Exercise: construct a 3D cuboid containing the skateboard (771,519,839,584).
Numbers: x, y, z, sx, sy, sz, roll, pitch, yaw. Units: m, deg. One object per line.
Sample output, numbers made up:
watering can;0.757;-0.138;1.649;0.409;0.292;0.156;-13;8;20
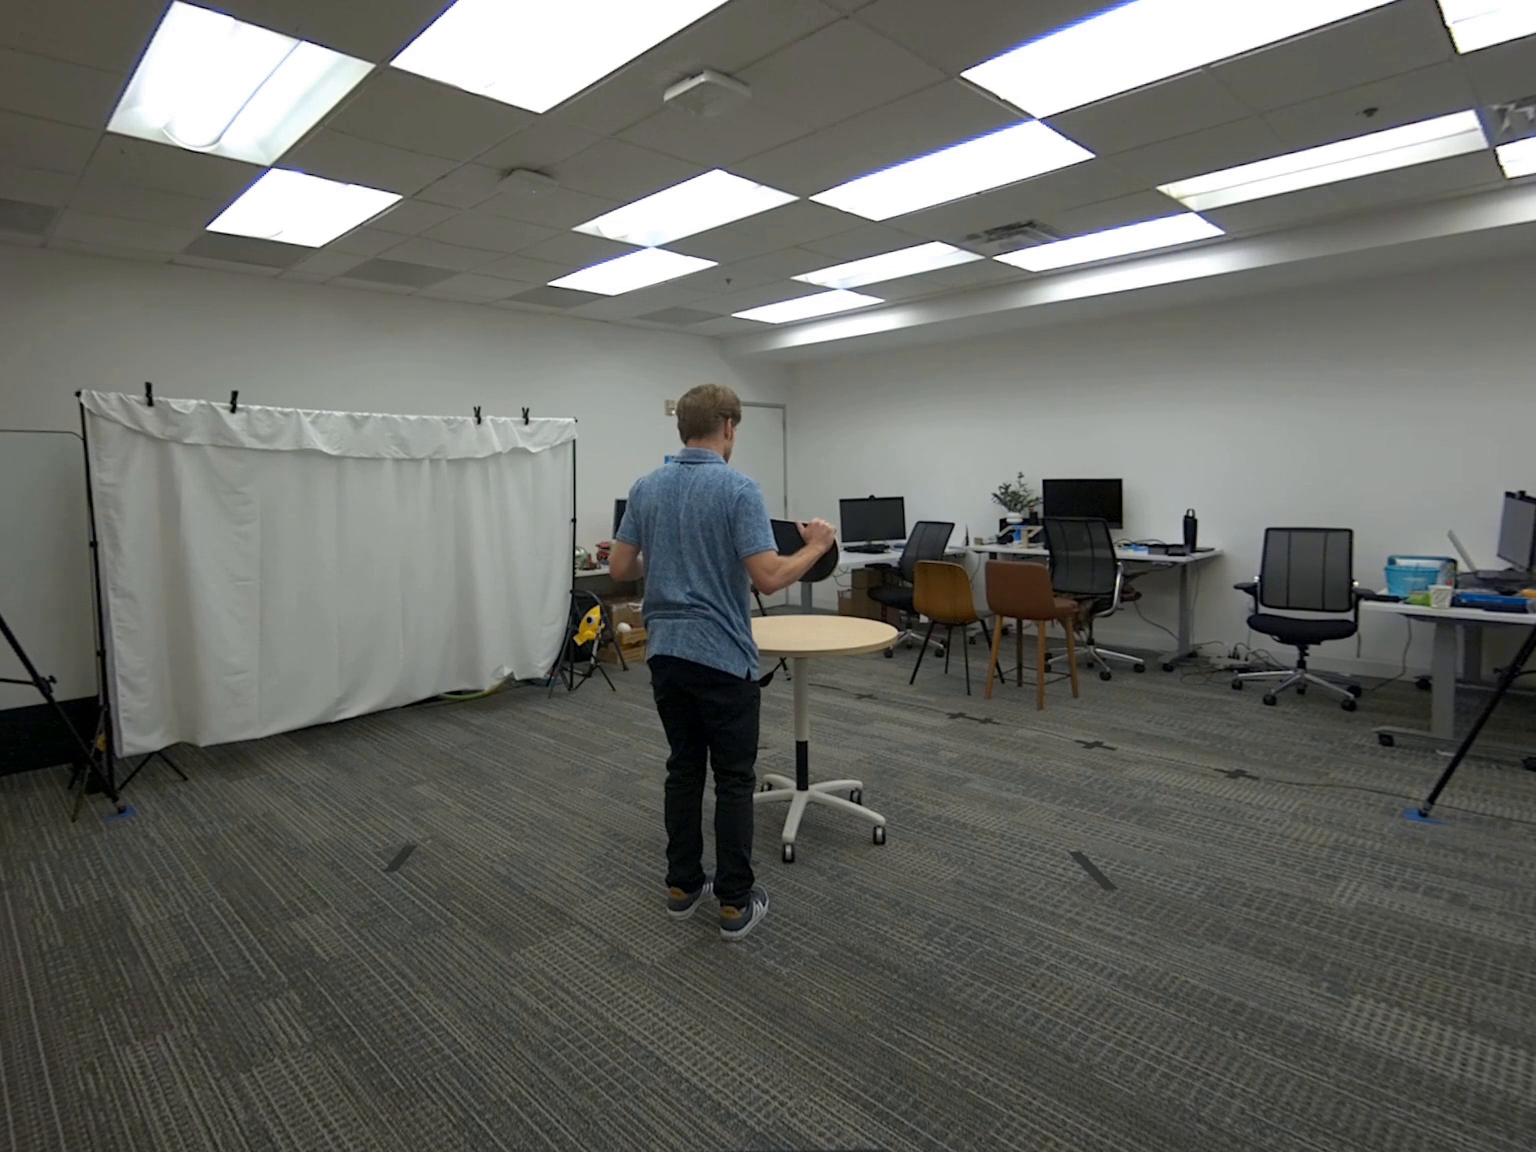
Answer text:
skateboard;-0.090;-0.110;2.923;0.808;0.193;0.107;8;3;31
